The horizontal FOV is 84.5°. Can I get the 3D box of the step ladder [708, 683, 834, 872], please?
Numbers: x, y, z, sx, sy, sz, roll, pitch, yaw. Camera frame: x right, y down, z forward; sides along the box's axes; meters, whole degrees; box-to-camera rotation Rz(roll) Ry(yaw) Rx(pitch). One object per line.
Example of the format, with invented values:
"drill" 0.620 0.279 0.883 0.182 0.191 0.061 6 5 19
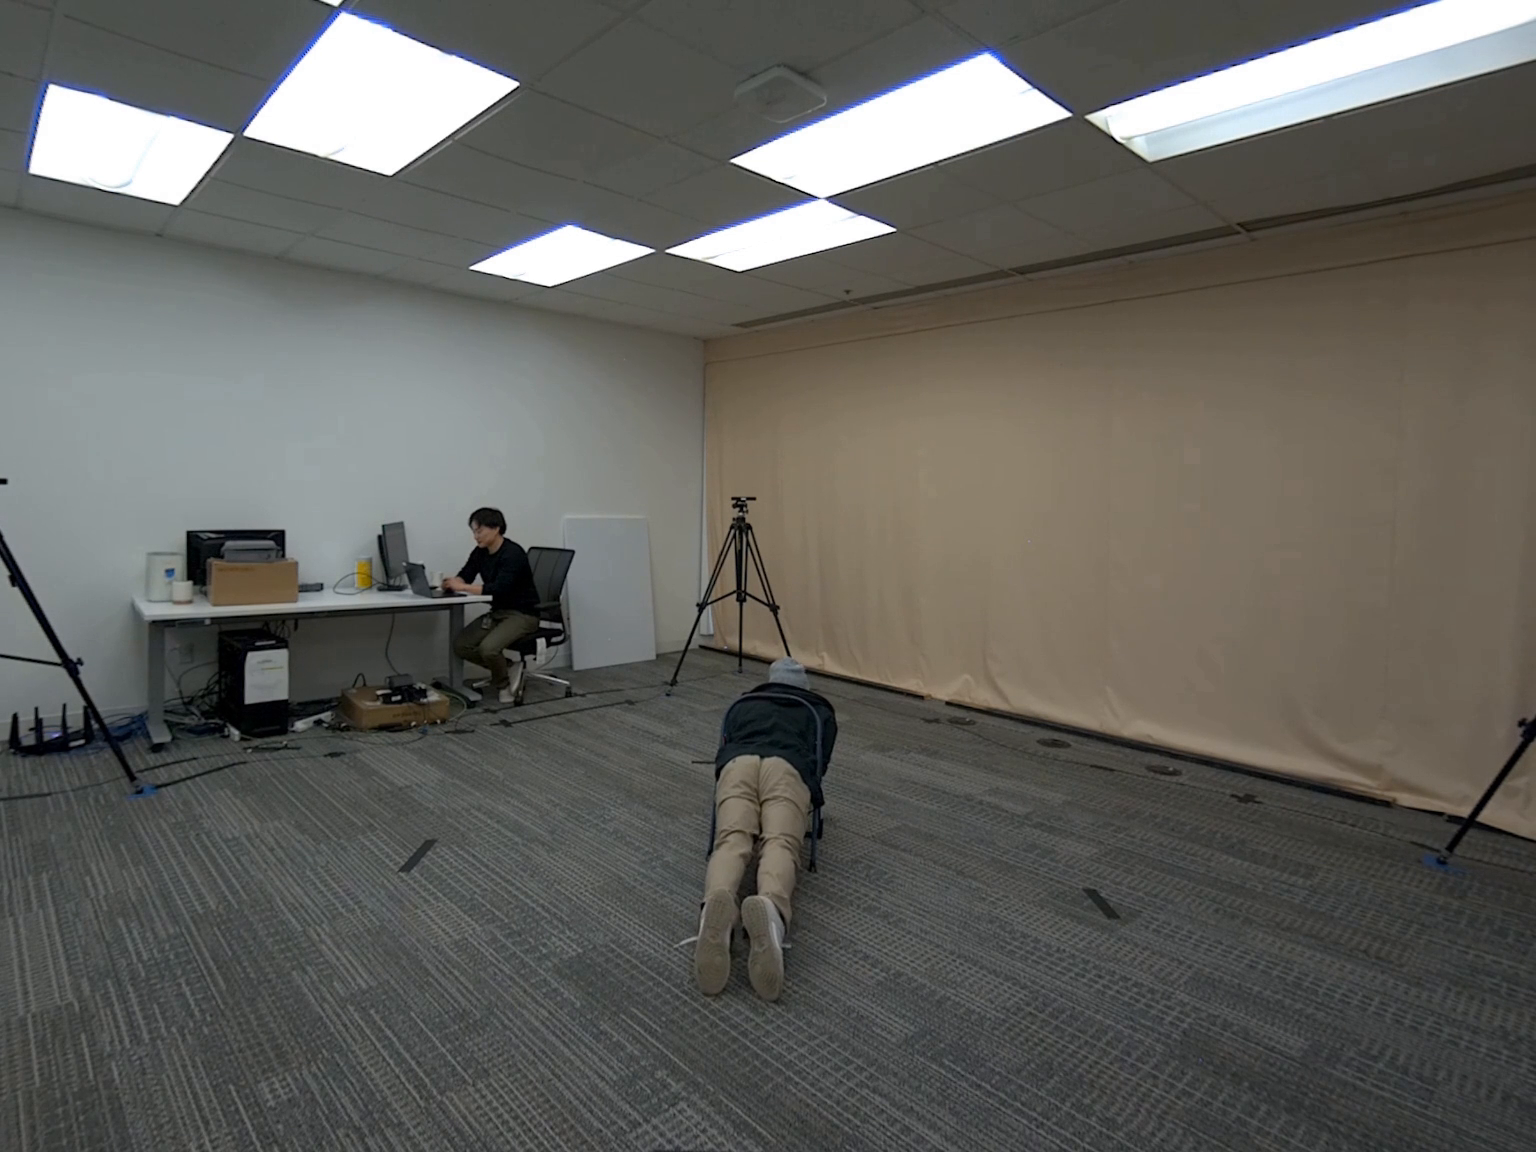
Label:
"step ladder" -0.006 0.788 3.350 0.434 0.605 0.347 2 3 9
